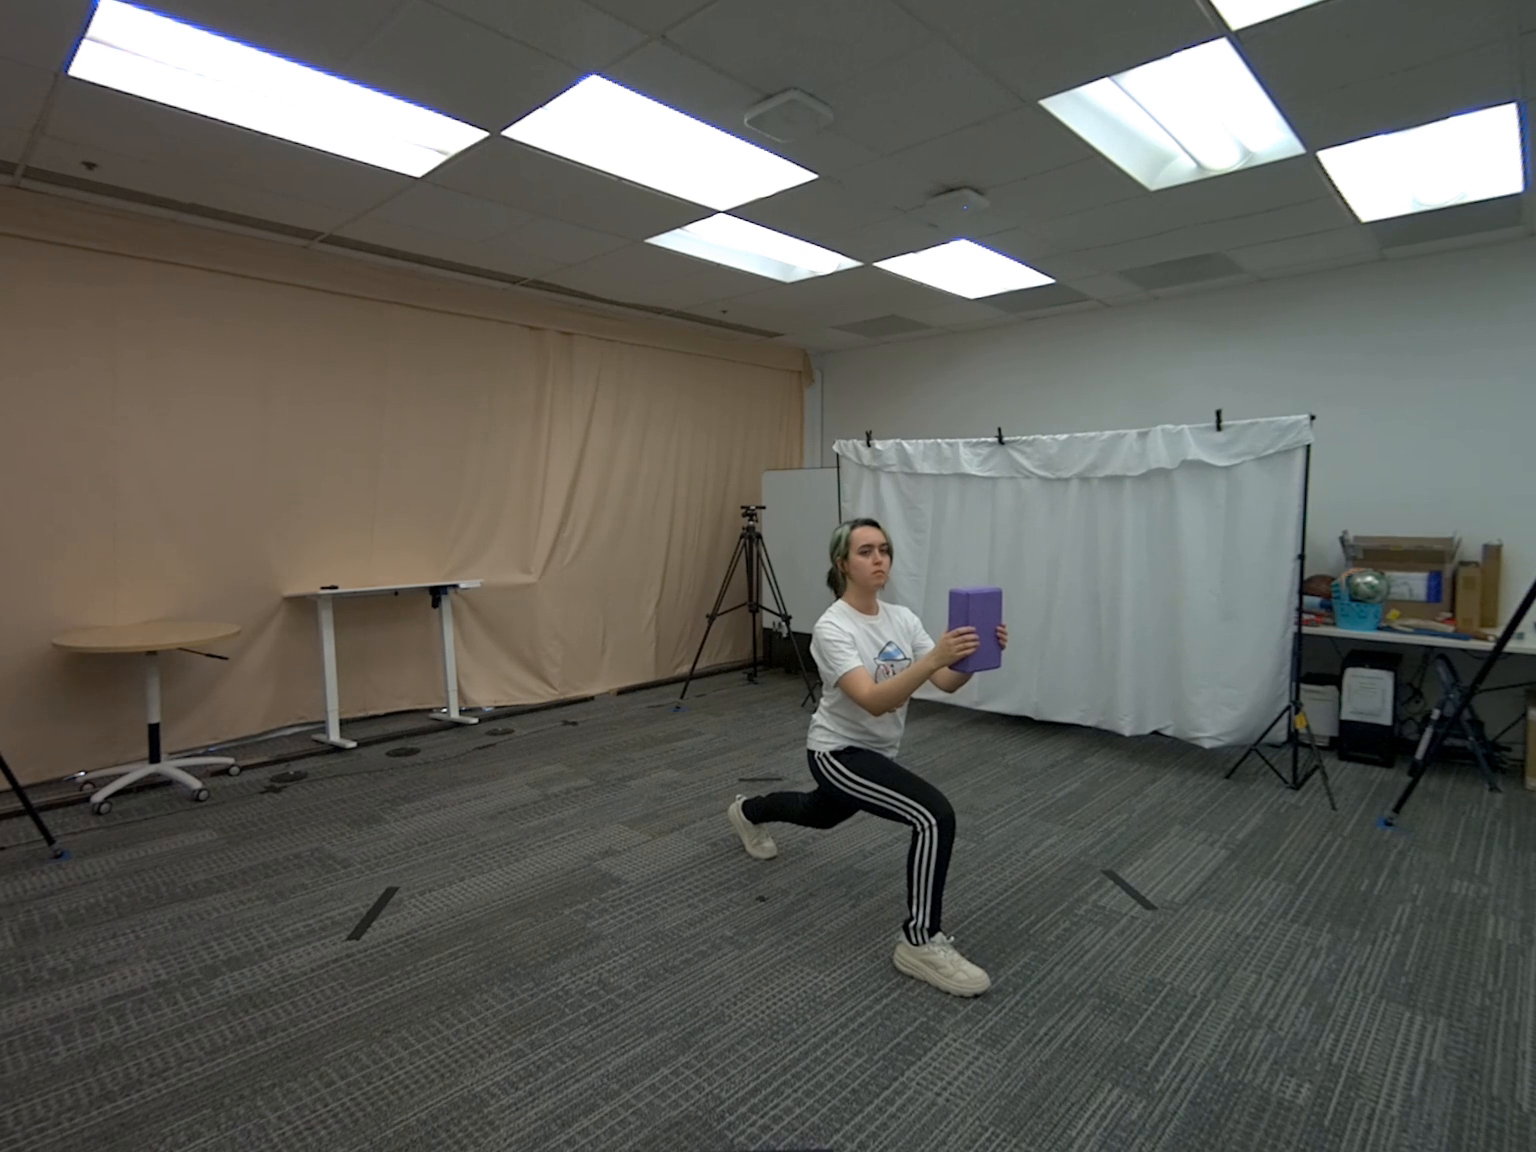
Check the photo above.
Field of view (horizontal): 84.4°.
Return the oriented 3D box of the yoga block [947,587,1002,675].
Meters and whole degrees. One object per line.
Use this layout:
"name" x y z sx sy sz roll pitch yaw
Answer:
"yoga block" 0.589 0.151 2.348 0.145 0.228 0.079 -3 5 -31
